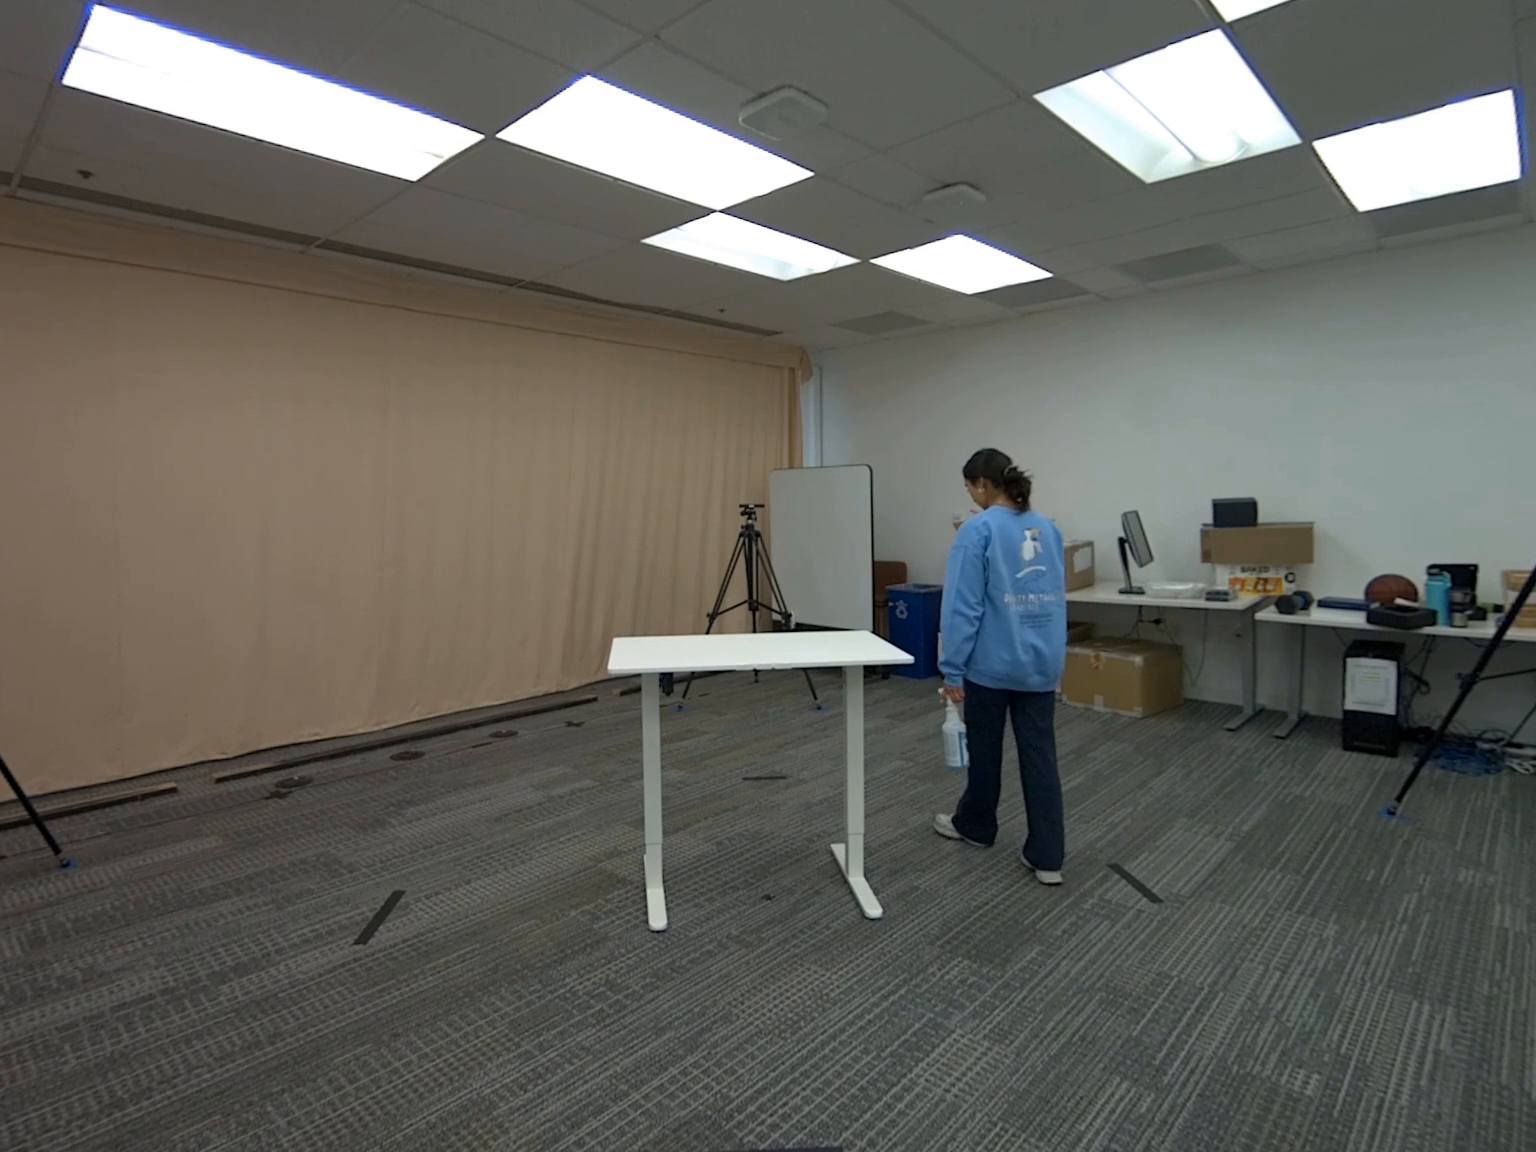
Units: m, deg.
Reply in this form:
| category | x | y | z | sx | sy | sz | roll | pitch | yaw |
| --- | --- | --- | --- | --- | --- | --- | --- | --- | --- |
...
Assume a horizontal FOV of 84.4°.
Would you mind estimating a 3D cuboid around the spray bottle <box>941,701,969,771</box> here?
| category | x | y | z | sx | sy | sz | roll | pitch | yaw |
| --- | --- | --- | --- | --- | --- | --- | --- | --- | --- |
| spray bottle | 0.716 | 0.582 | 3.205 | 0.086 | 0.298 | 0.091 | -6 | -2 | -9 |
